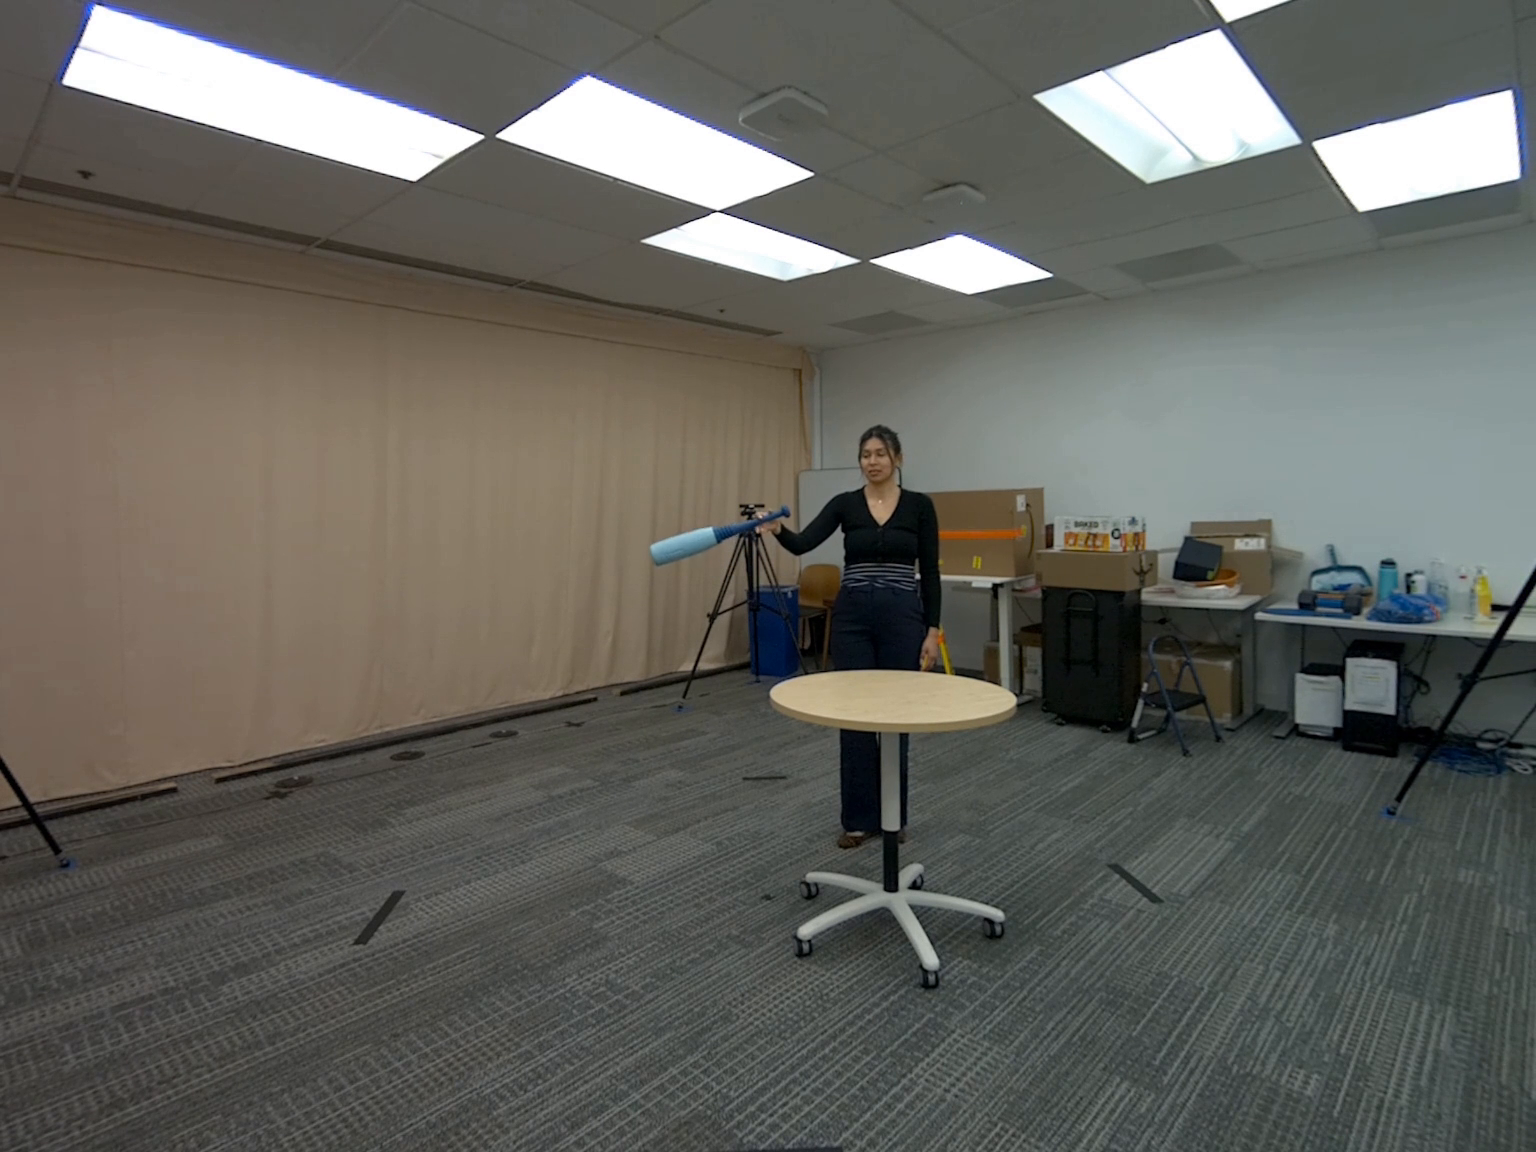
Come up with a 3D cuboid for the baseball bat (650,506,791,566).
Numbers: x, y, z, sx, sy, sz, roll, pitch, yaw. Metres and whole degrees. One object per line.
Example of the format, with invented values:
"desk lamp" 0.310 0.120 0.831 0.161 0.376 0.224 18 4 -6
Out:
"baseball bat" -0.182 -0.156 3.137 0.544 0.089 0.089 -18 4 2
